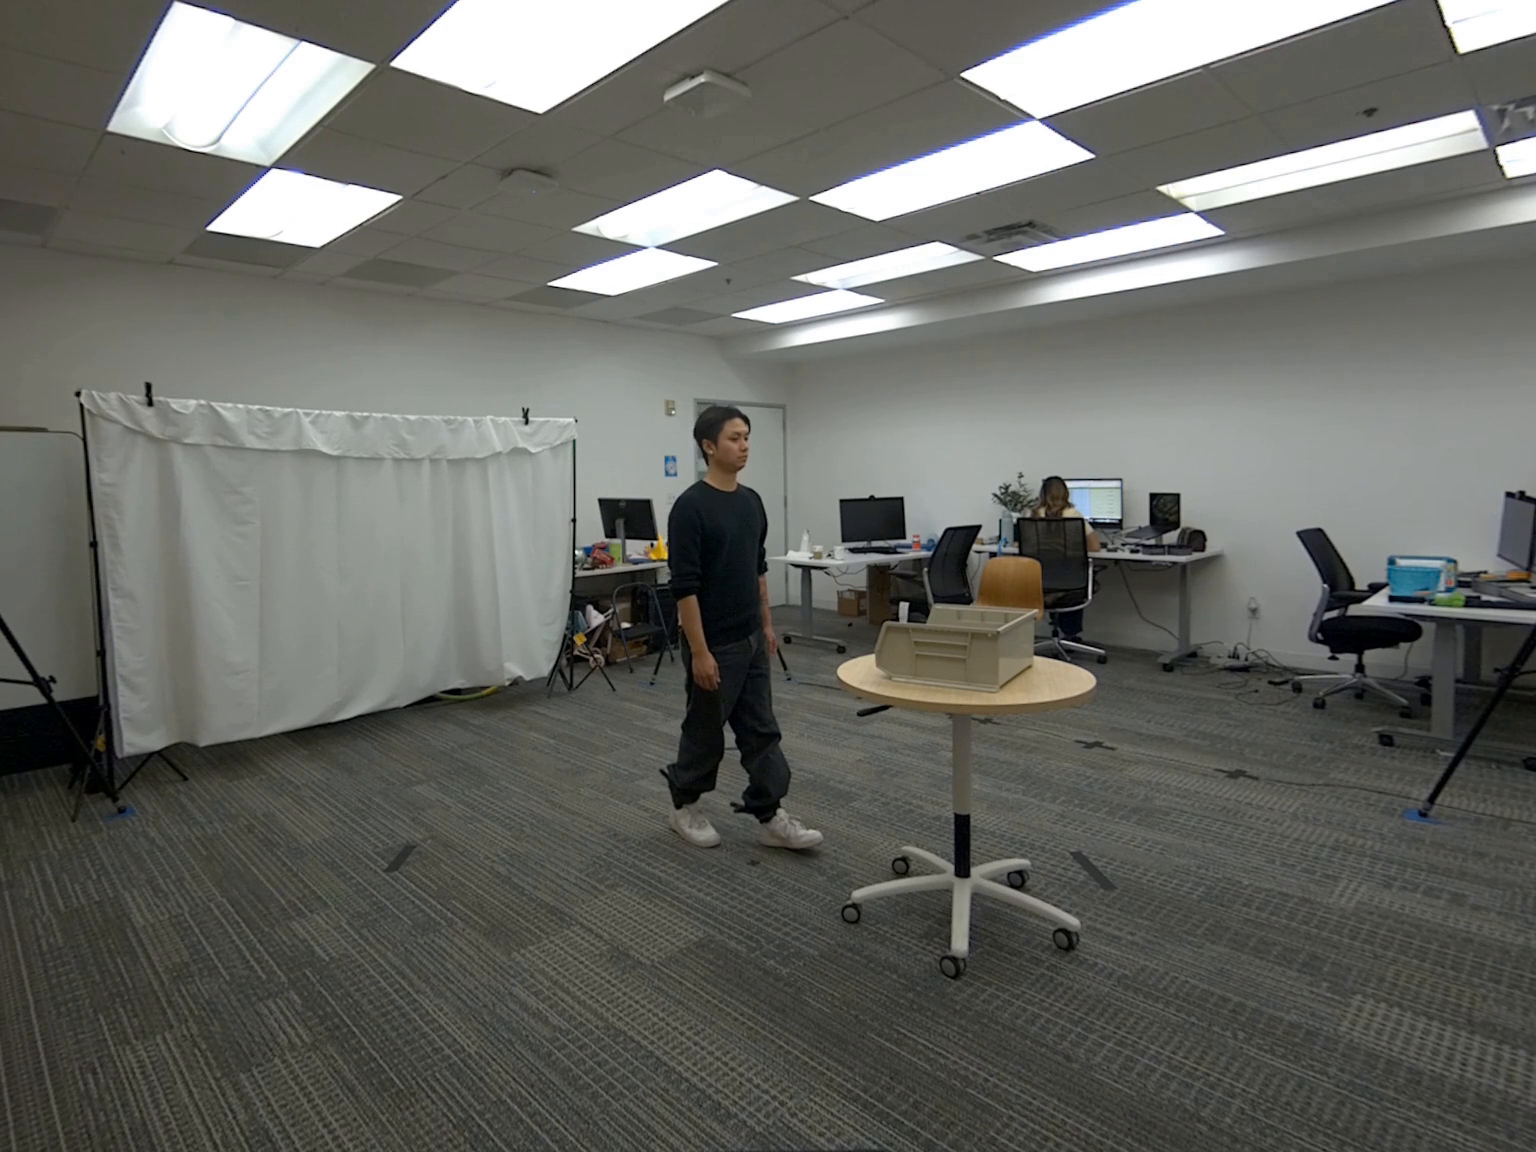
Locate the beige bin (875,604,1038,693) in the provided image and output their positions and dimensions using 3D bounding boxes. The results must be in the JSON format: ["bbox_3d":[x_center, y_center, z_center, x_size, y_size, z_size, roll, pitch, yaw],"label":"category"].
[{"bbox_3d":[0.599,0.214,2.640,0.388,0.188,0.412,3,7,32],"label":"beige bin"}]
